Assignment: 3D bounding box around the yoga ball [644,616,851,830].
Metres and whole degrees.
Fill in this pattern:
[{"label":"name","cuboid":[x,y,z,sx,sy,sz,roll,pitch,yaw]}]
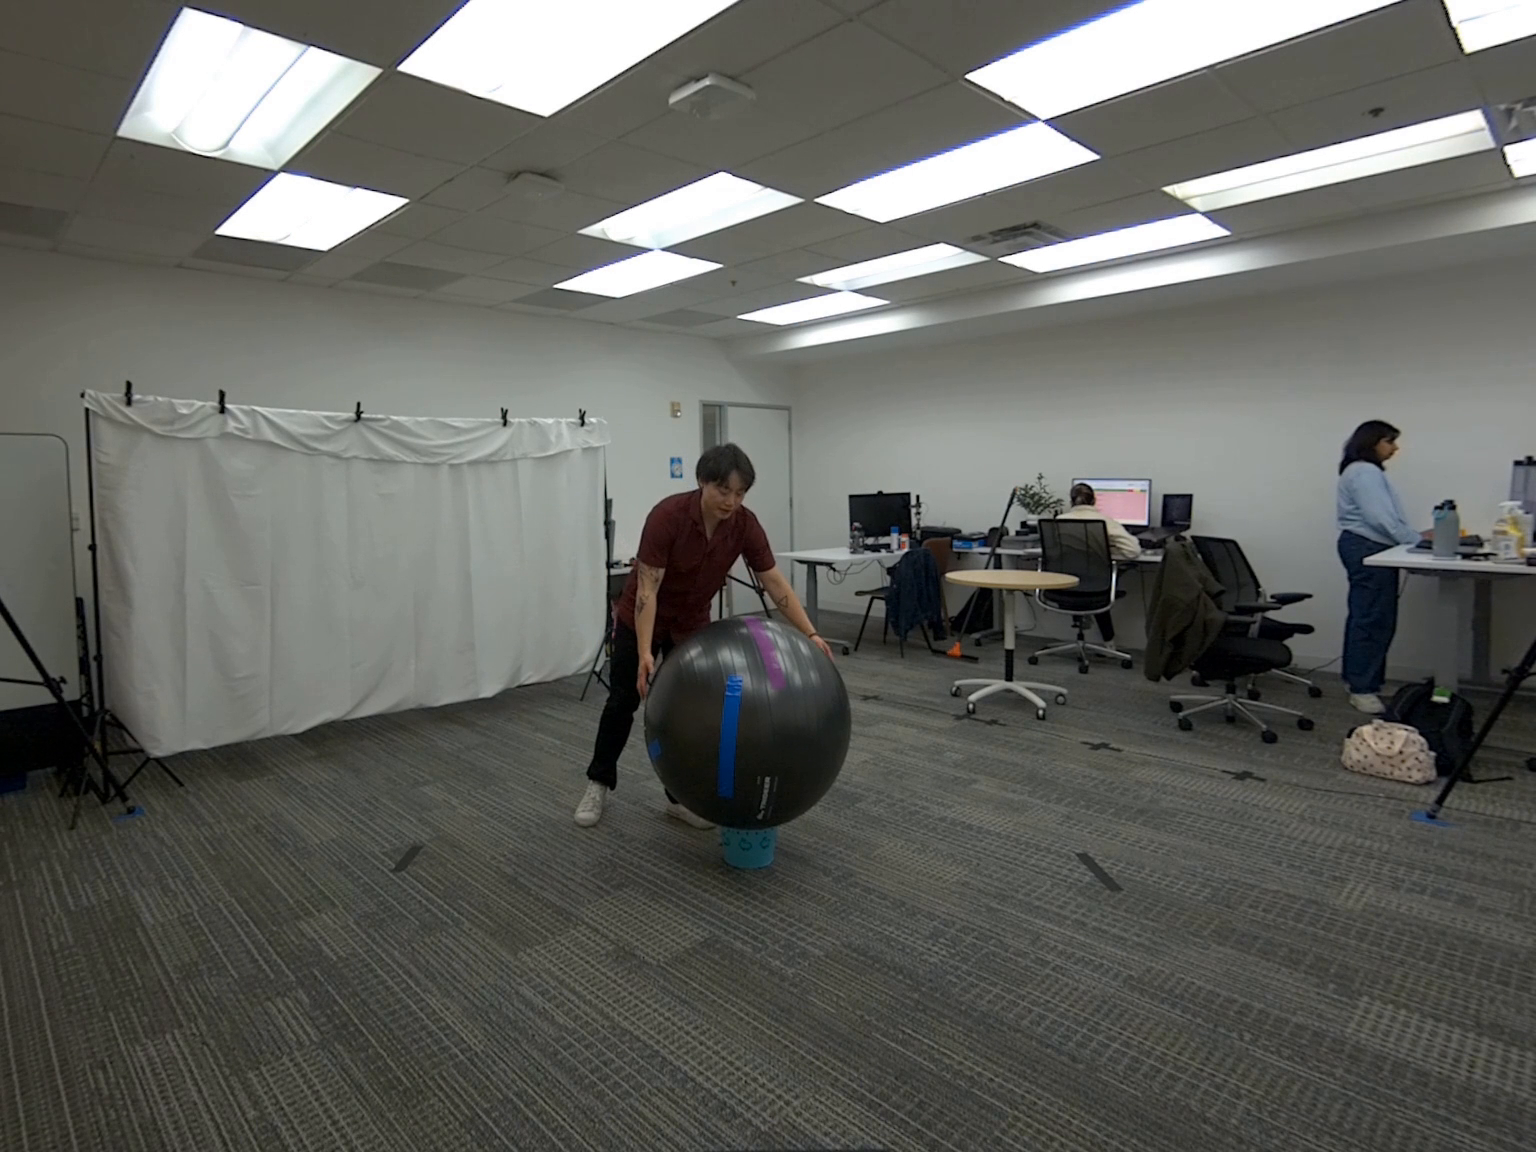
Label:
[{"label":"yoga ball","cuboid":[-0.075,0.532,3.130,0.757,0.755,0.762,-1,5,-2]}]
